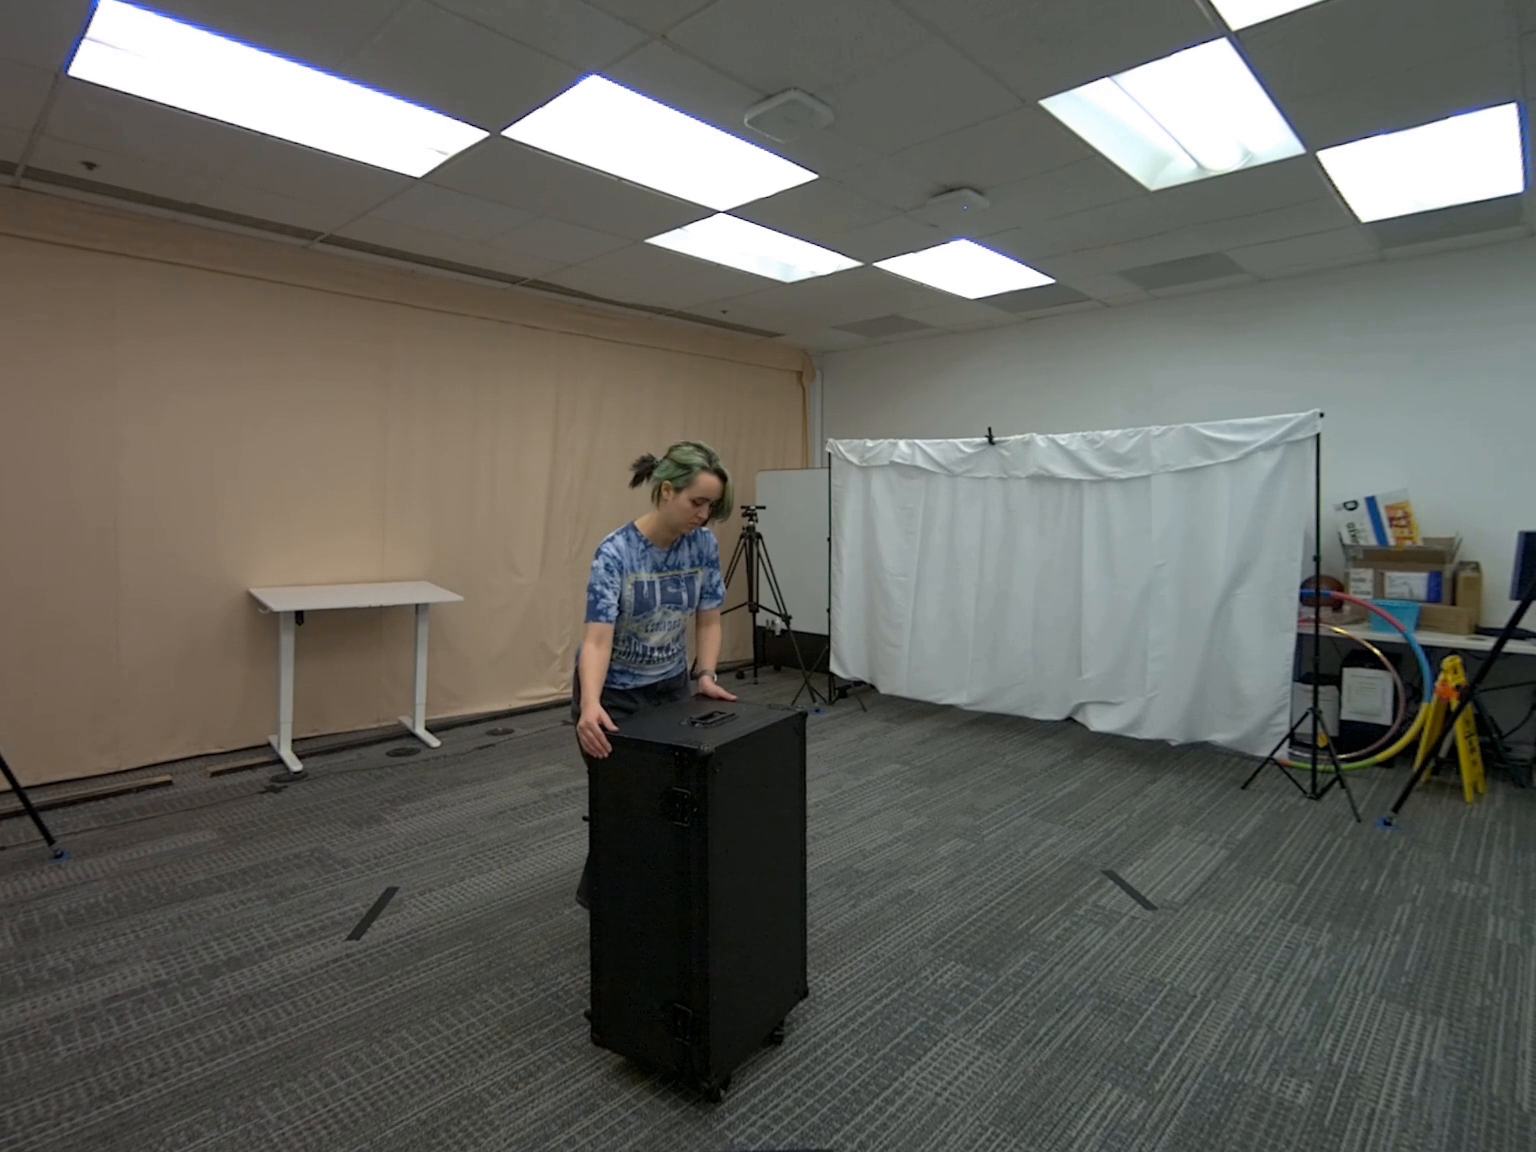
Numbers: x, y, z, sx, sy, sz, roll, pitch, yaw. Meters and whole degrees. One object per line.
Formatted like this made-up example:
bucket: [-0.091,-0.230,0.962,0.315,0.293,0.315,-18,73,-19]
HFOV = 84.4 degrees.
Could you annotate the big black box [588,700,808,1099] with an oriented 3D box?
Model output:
big black box: [-0.164,0.788,2.157,0.408,0.860,0.507,1,2,32]
